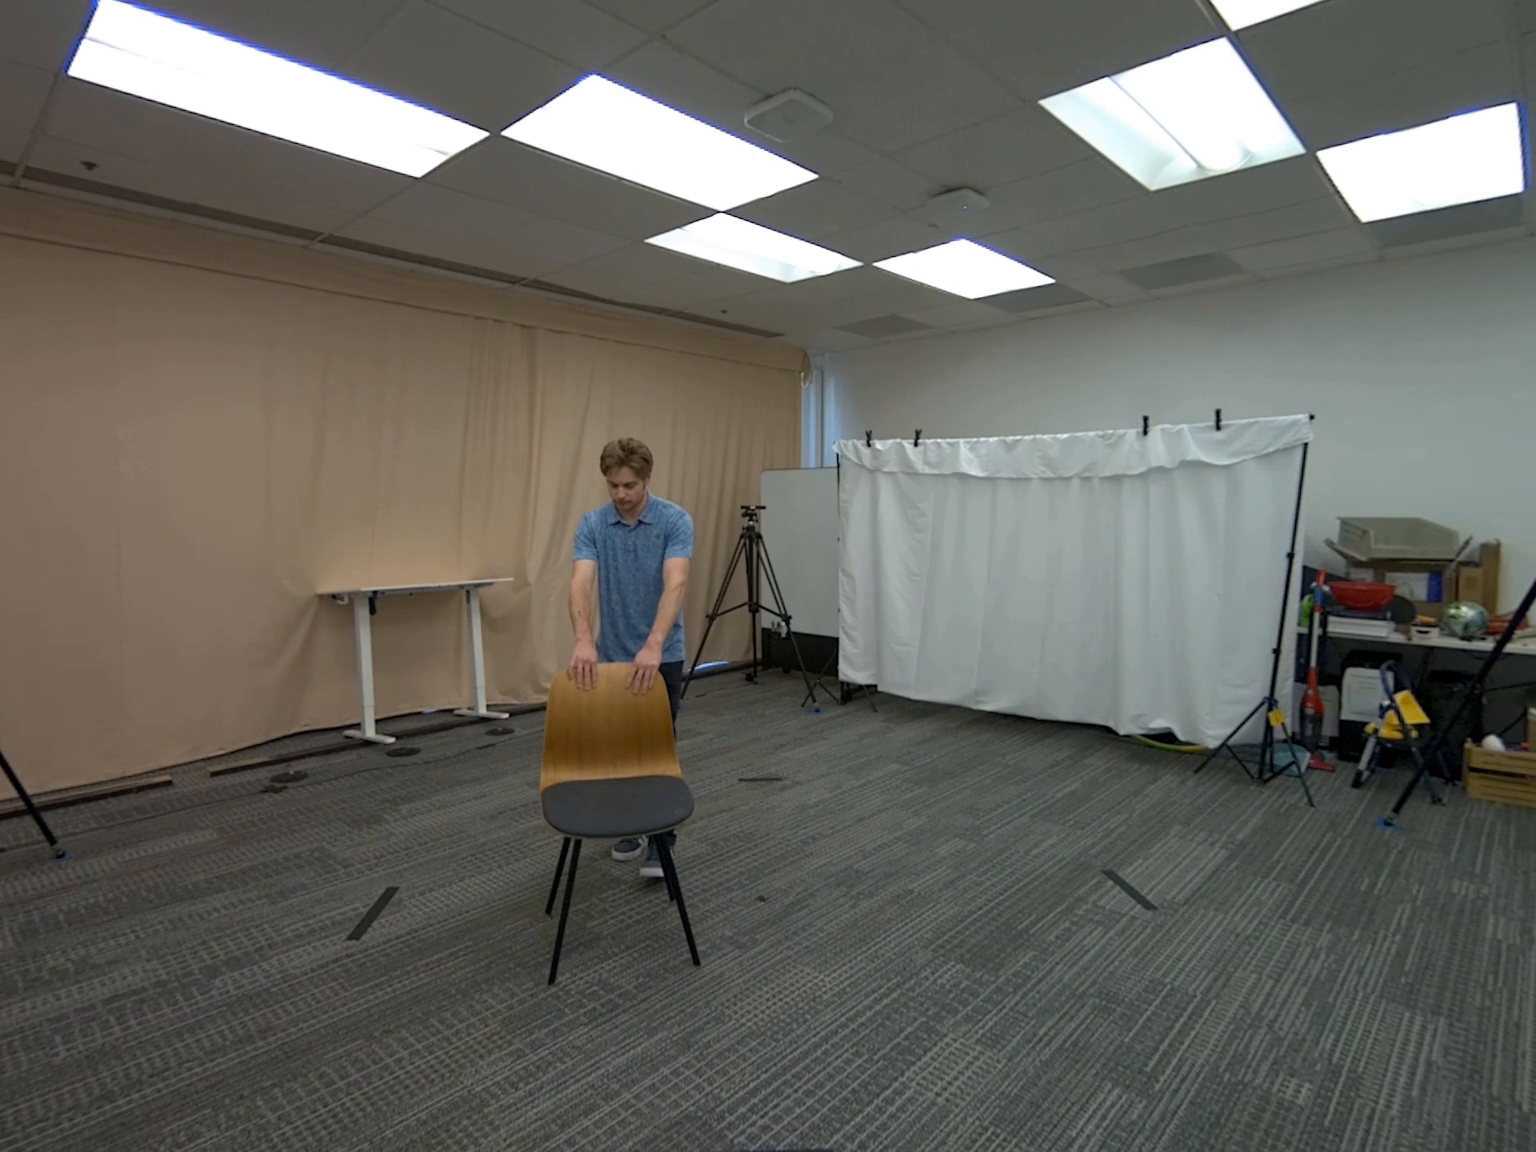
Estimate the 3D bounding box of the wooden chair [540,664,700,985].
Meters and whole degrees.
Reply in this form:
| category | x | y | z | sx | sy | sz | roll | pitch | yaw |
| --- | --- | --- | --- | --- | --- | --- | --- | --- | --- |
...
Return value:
| category | x | y | z | sx | sy | sz | roll | pitch | yaw |
| --- | --- | --- | --- | --- | --- | --- | --- | --- | --- |
| wooden chair | -0.469 | 0.740 | 2.679 | 0.471 | 0.878 | 0.531 | -1 | -1 | -15 |
